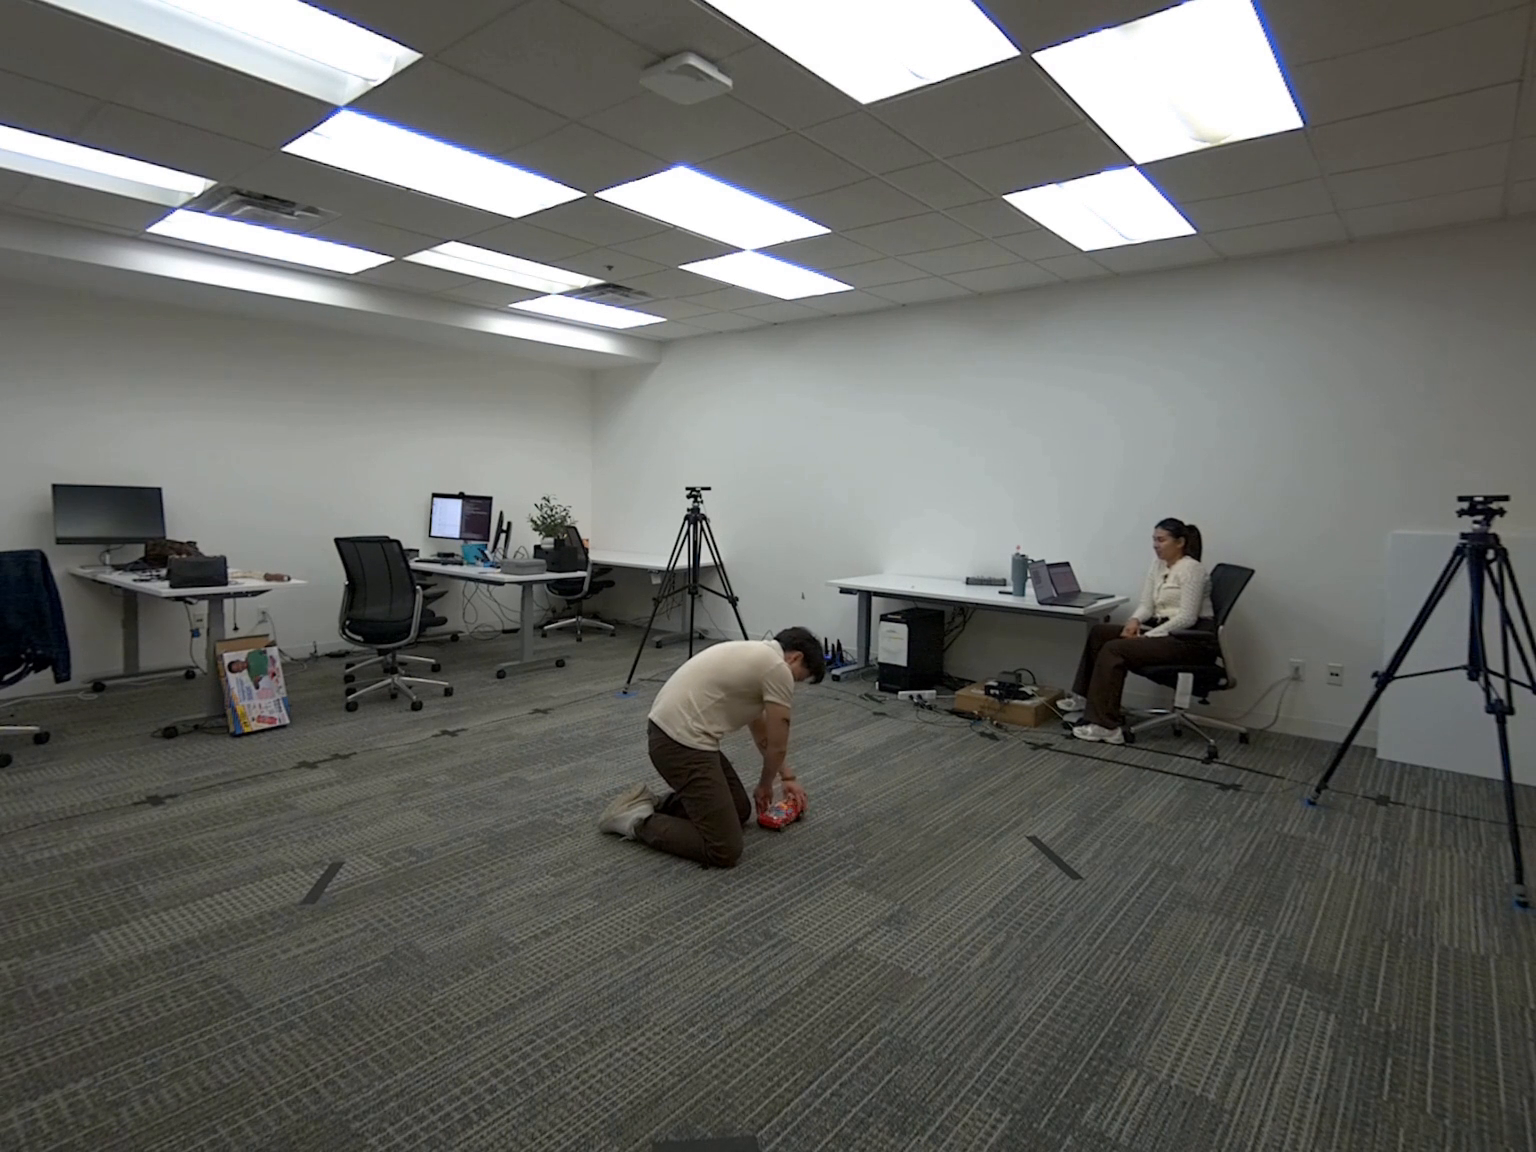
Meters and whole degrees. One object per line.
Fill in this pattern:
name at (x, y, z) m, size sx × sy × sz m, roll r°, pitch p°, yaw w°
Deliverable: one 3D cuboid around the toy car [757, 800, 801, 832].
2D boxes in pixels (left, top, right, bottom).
toy car at (0.058, 0.997, 3.564) m, size 0.134 × 0.082 × 0.249 m, roll 5°, pitch 16°, yaw 36°
